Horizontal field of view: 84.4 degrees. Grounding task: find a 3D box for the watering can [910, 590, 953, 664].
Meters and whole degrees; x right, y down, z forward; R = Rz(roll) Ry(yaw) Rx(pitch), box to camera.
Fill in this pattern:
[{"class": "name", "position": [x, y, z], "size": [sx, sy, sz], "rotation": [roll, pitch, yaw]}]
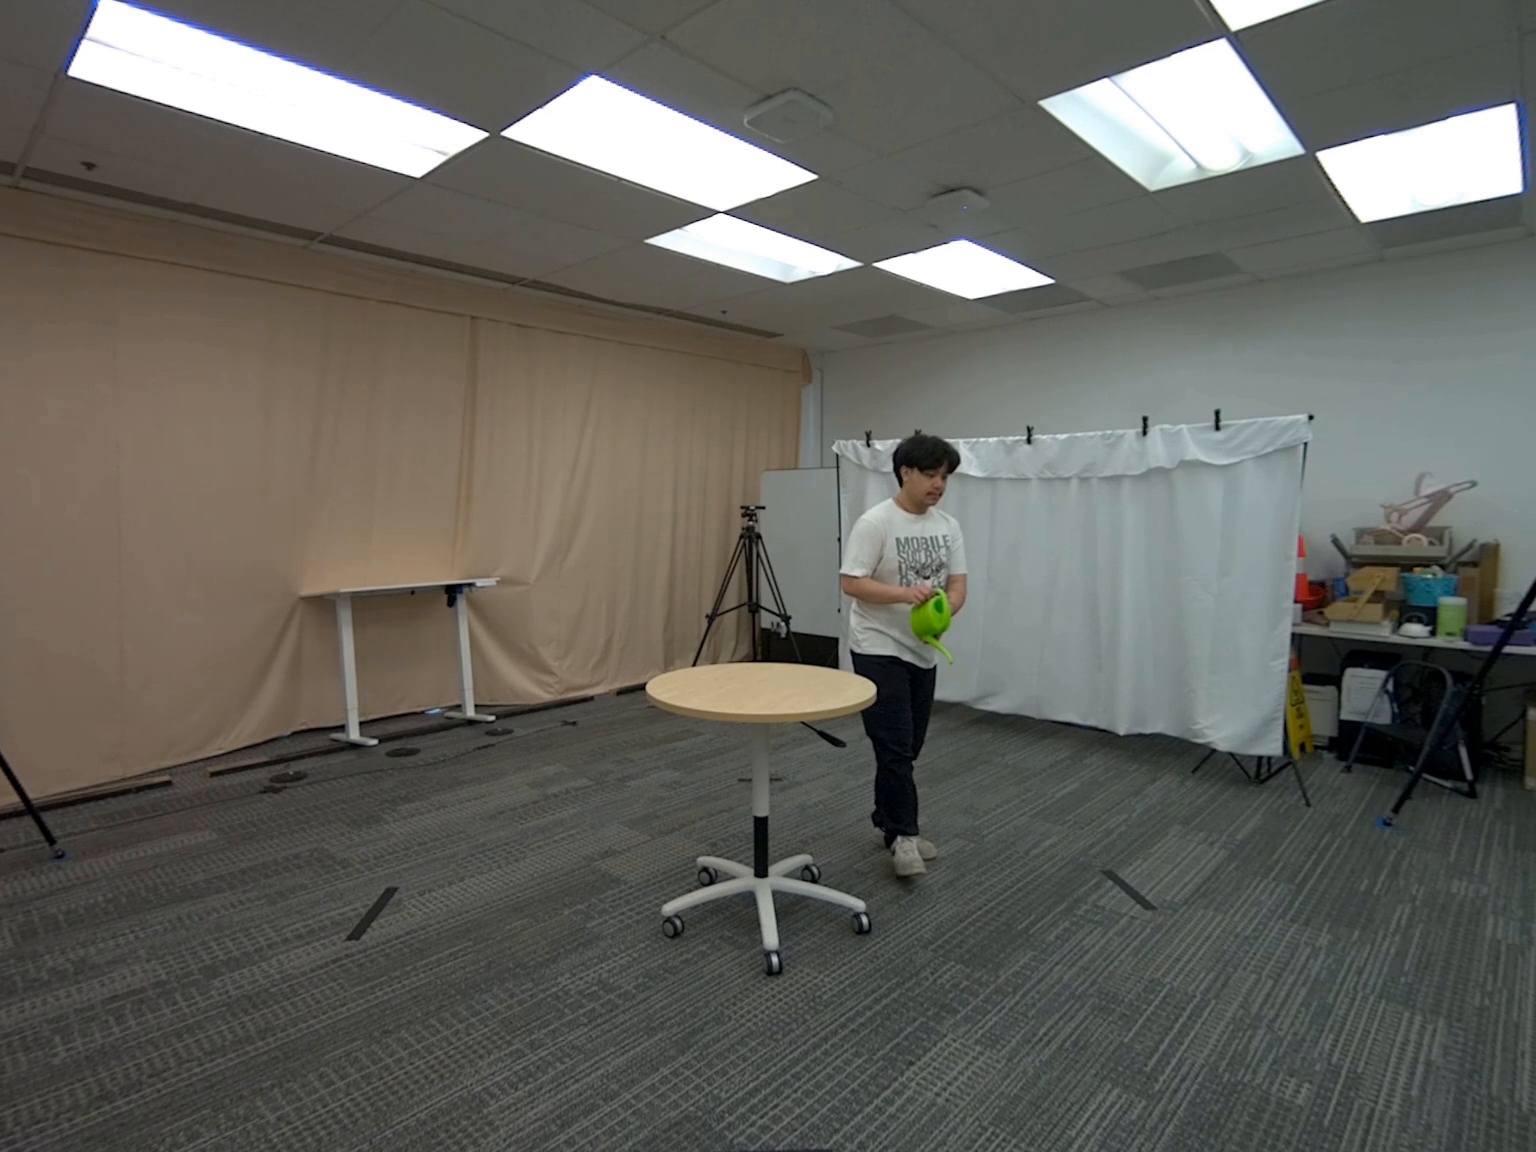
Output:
[{"class": "watering can", "position": [0.594, 0.190, 3.019], "size": [0.096, 0.281, 0.178], "rotation": [12, -22, -15]}]
